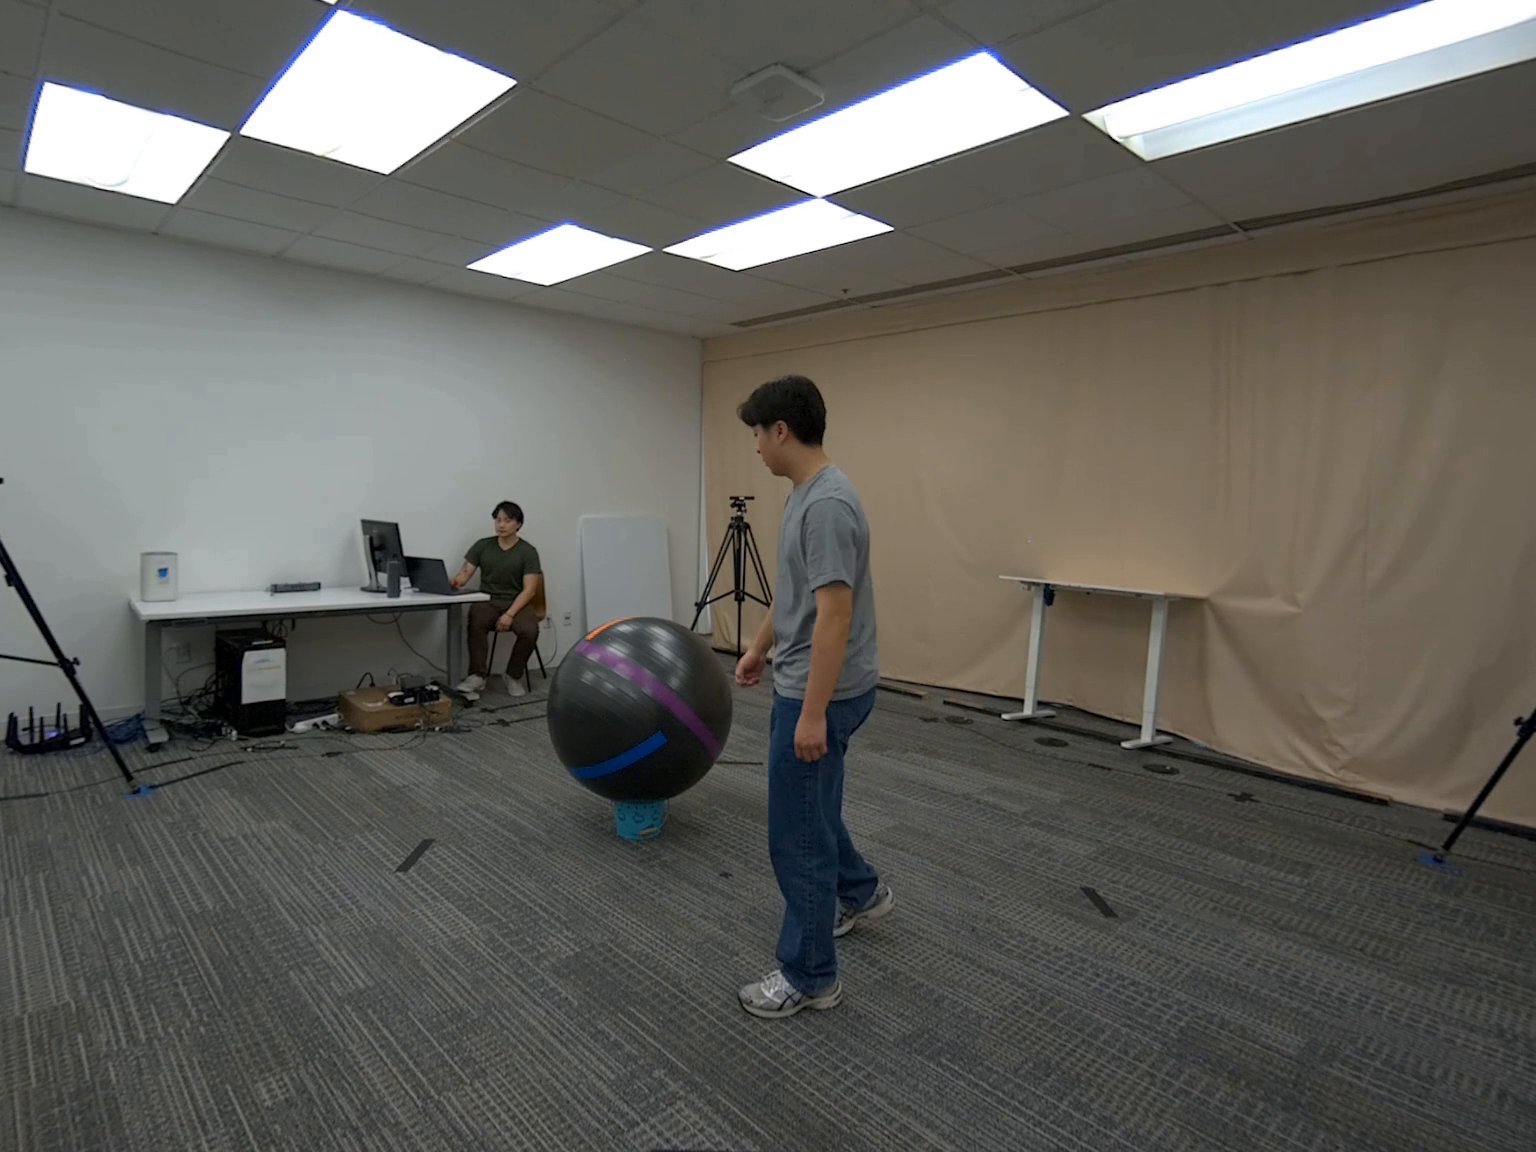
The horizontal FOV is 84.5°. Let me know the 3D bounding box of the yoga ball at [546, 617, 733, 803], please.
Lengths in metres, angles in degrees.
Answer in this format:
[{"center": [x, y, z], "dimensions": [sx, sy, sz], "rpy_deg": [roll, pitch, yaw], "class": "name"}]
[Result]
[{"center": [-0.536, 0.550, 3.492], "dimensions": [0.757, 0.756, 0.761], "rpy_deg": [1, 4, -1], "class": "yoga ball"}]
